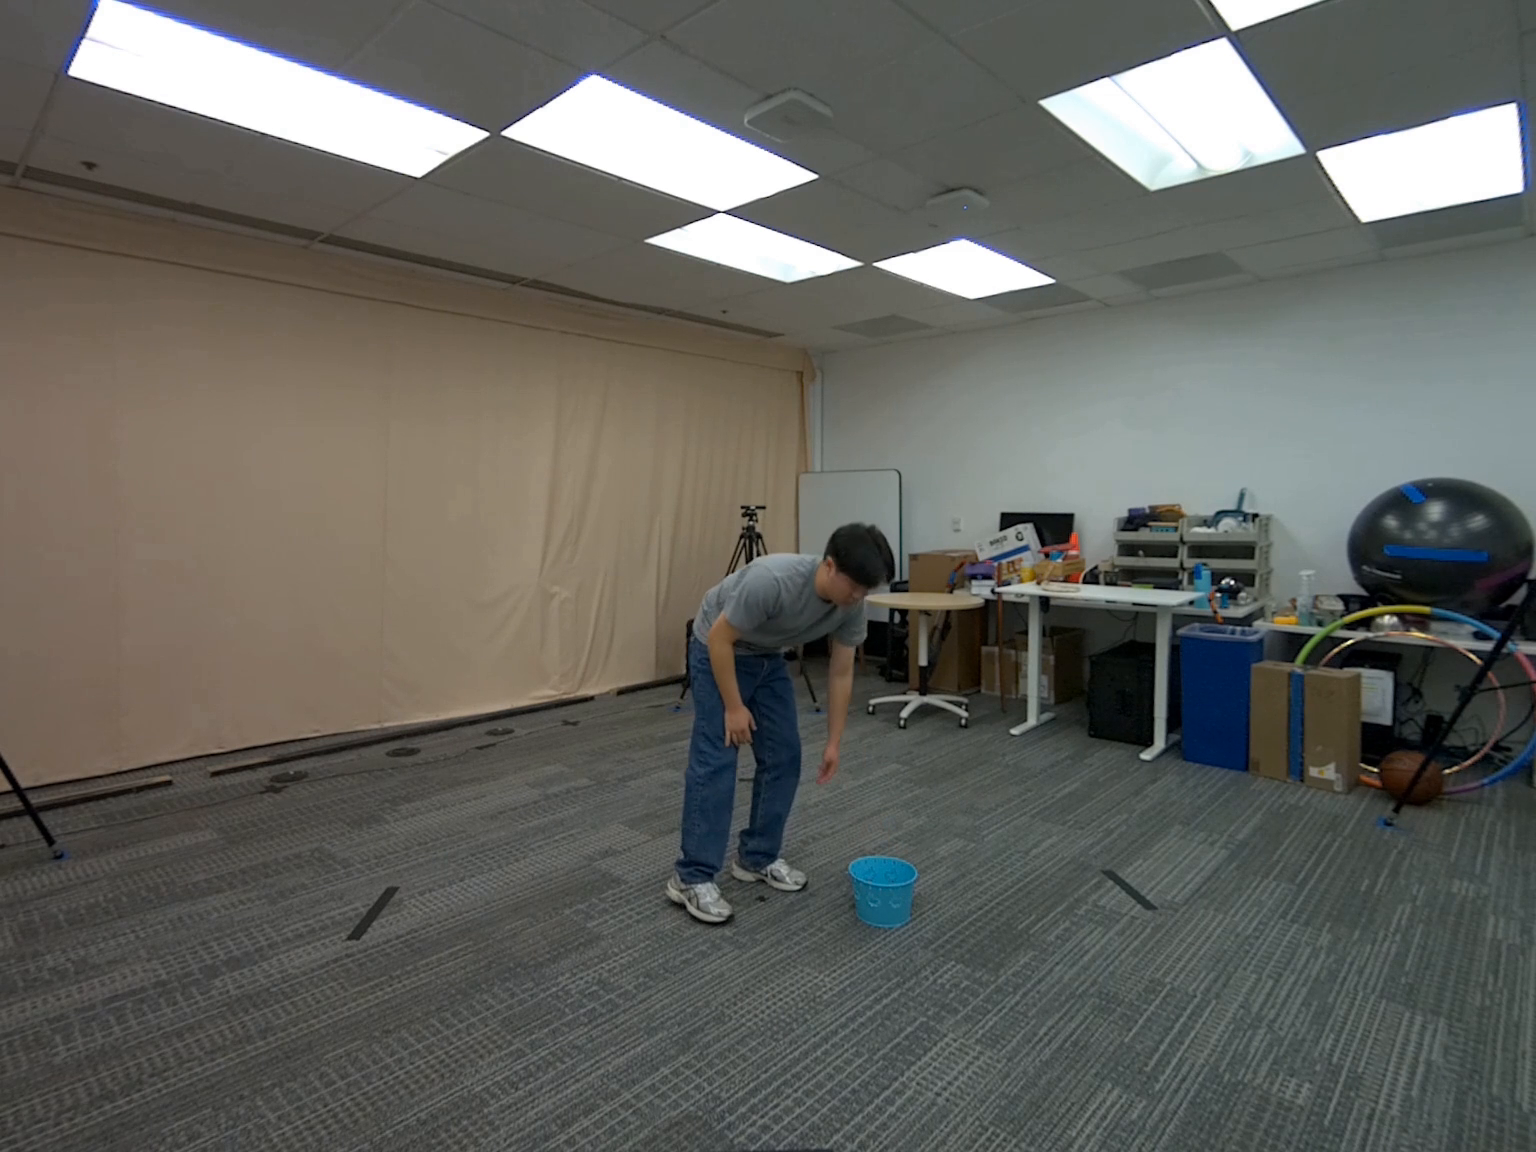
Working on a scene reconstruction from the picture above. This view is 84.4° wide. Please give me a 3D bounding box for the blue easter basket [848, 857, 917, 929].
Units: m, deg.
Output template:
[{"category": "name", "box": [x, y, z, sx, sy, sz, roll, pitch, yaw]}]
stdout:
[{"category": "blue easter basket", "box": [0.400, 1.075, 2.863, 0.243, 0.155, 0.244, -1, 5, -2]}]
